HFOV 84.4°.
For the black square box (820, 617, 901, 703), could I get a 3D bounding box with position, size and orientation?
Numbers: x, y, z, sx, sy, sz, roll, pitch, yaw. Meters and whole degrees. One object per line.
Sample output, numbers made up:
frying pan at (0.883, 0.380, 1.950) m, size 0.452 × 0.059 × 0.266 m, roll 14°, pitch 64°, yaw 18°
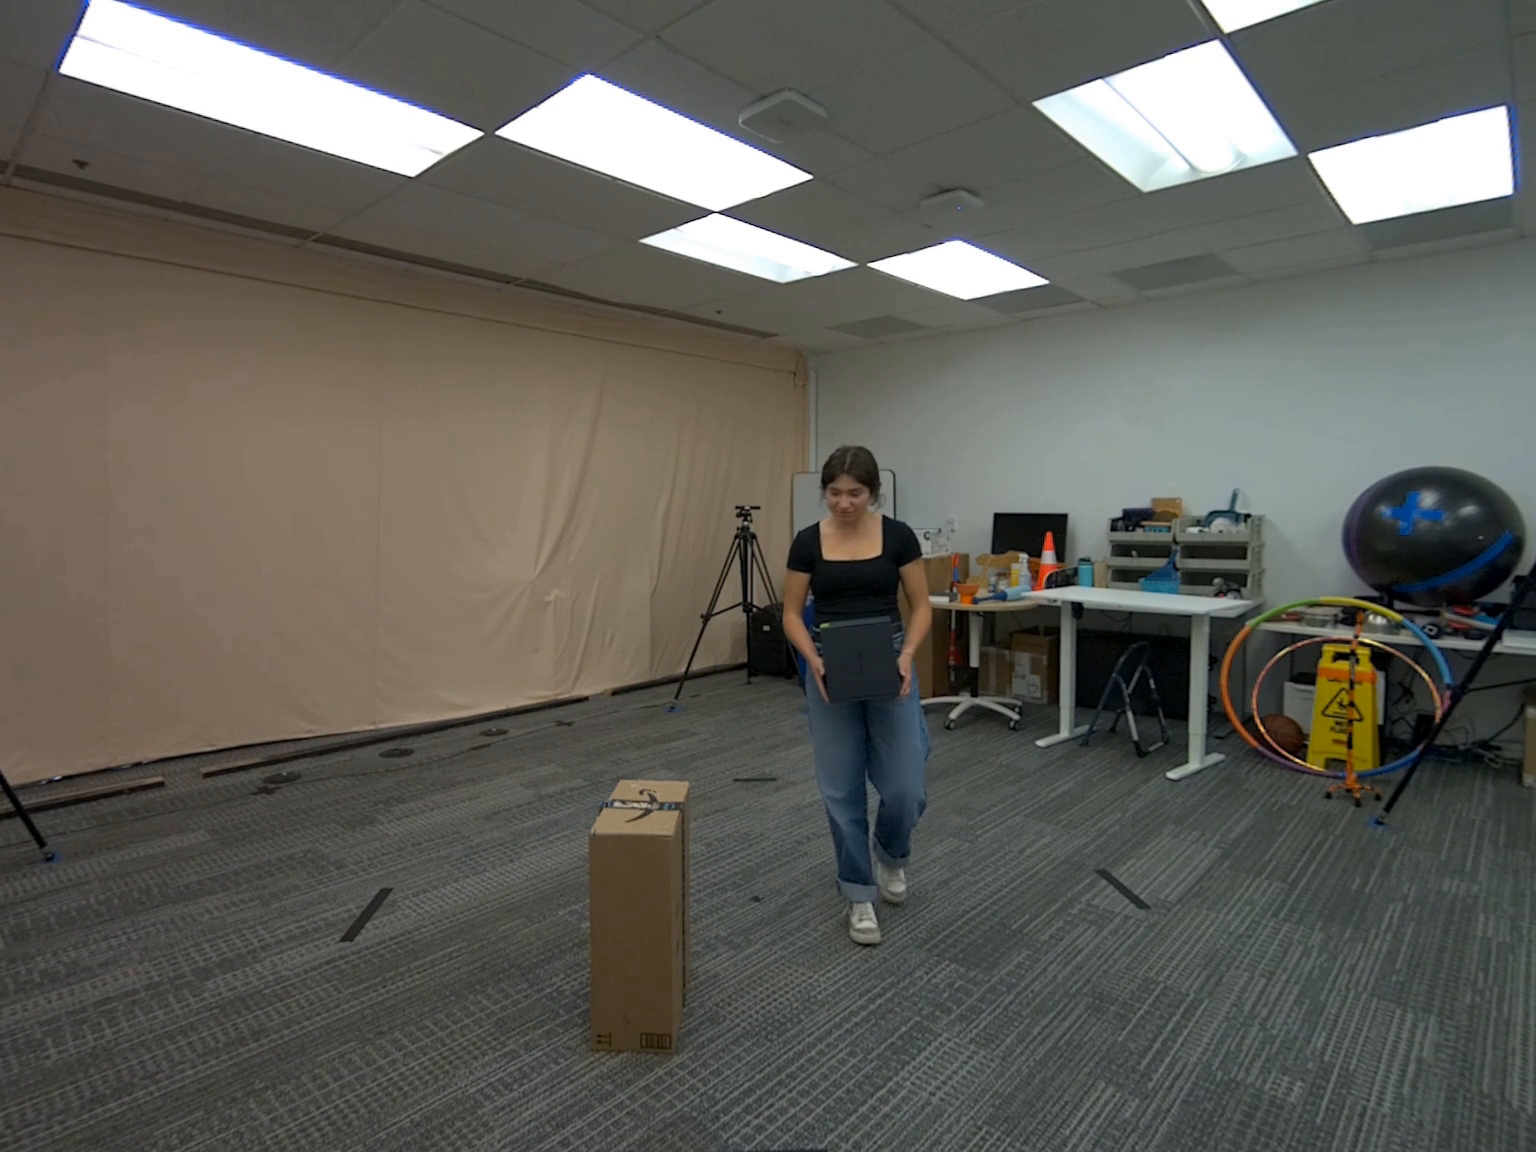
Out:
black square box at (0.275, 0.247, 2.589) m, size 0.219 × 0.228 × 0.155 m, roll -5°, pitch 2°, yaw 8°
